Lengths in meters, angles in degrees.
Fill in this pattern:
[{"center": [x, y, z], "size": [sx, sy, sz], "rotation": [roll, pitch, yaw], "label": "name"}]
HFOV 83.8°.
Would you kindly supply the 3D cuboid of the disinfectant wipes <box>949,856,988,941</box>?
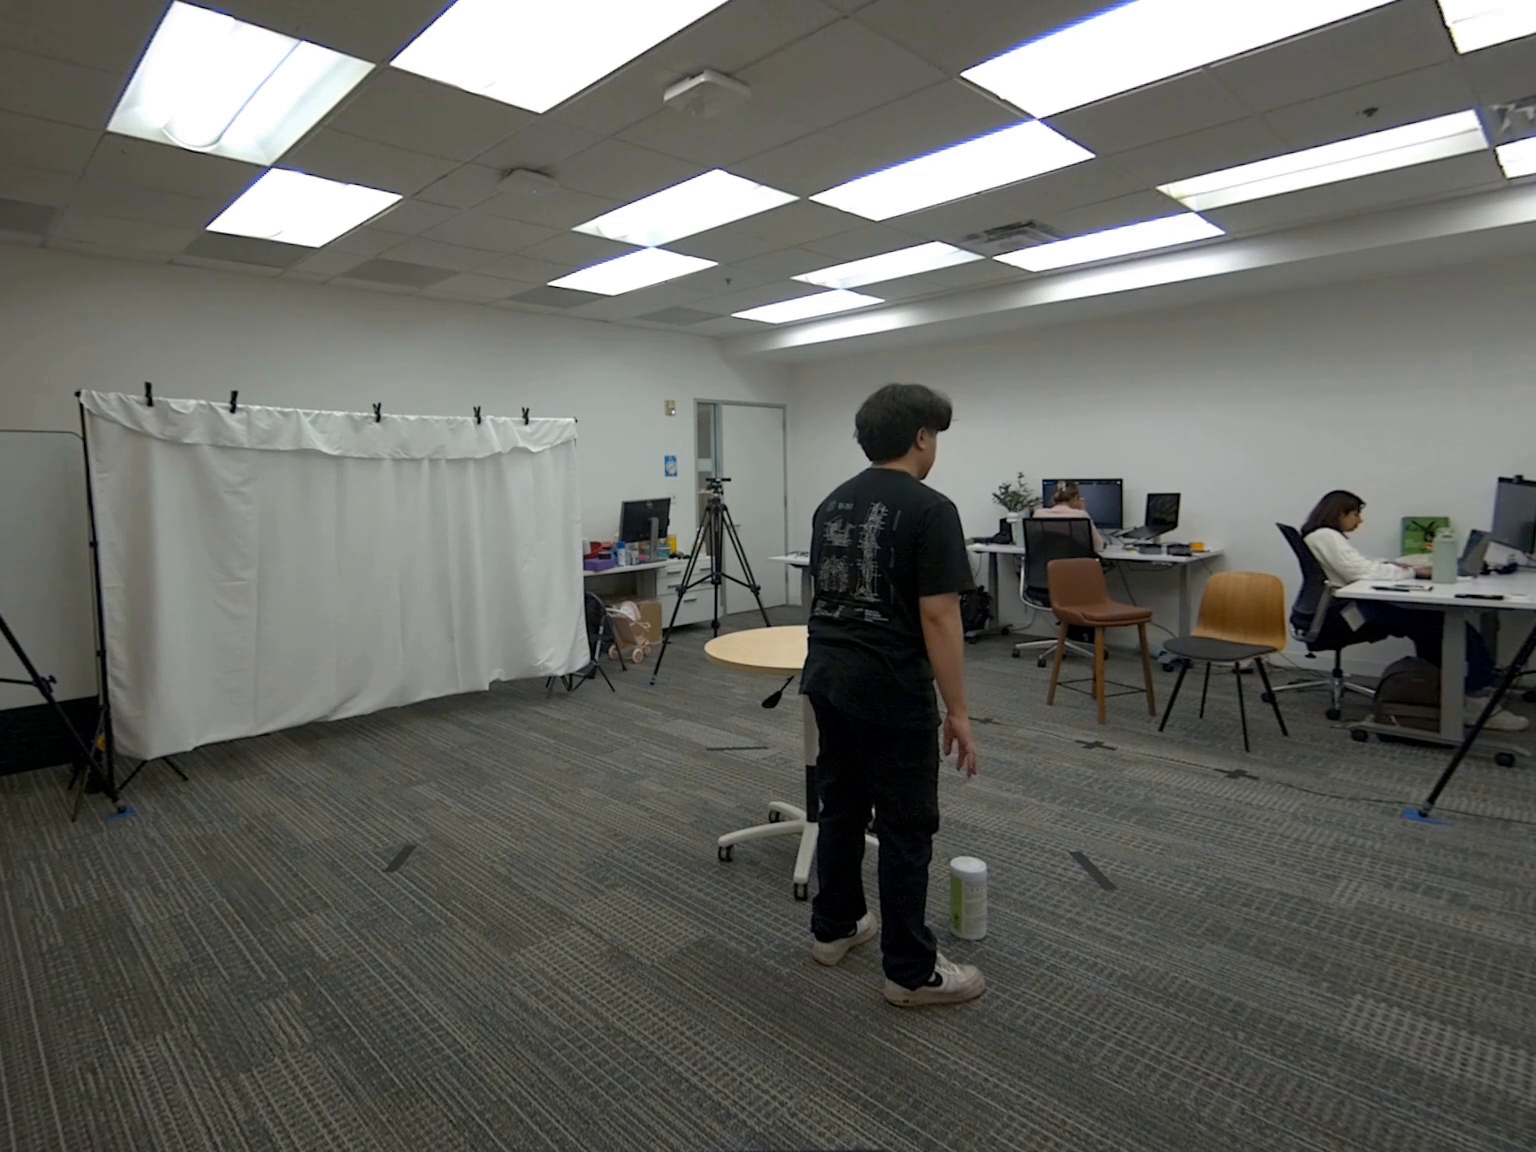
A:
[{"center": [0.614, 0.980, 2.592], "size": [0.118, 0.217, 0.118], "rotation": [-2, 3, -2], "label": "disinfectant wipes"}]
